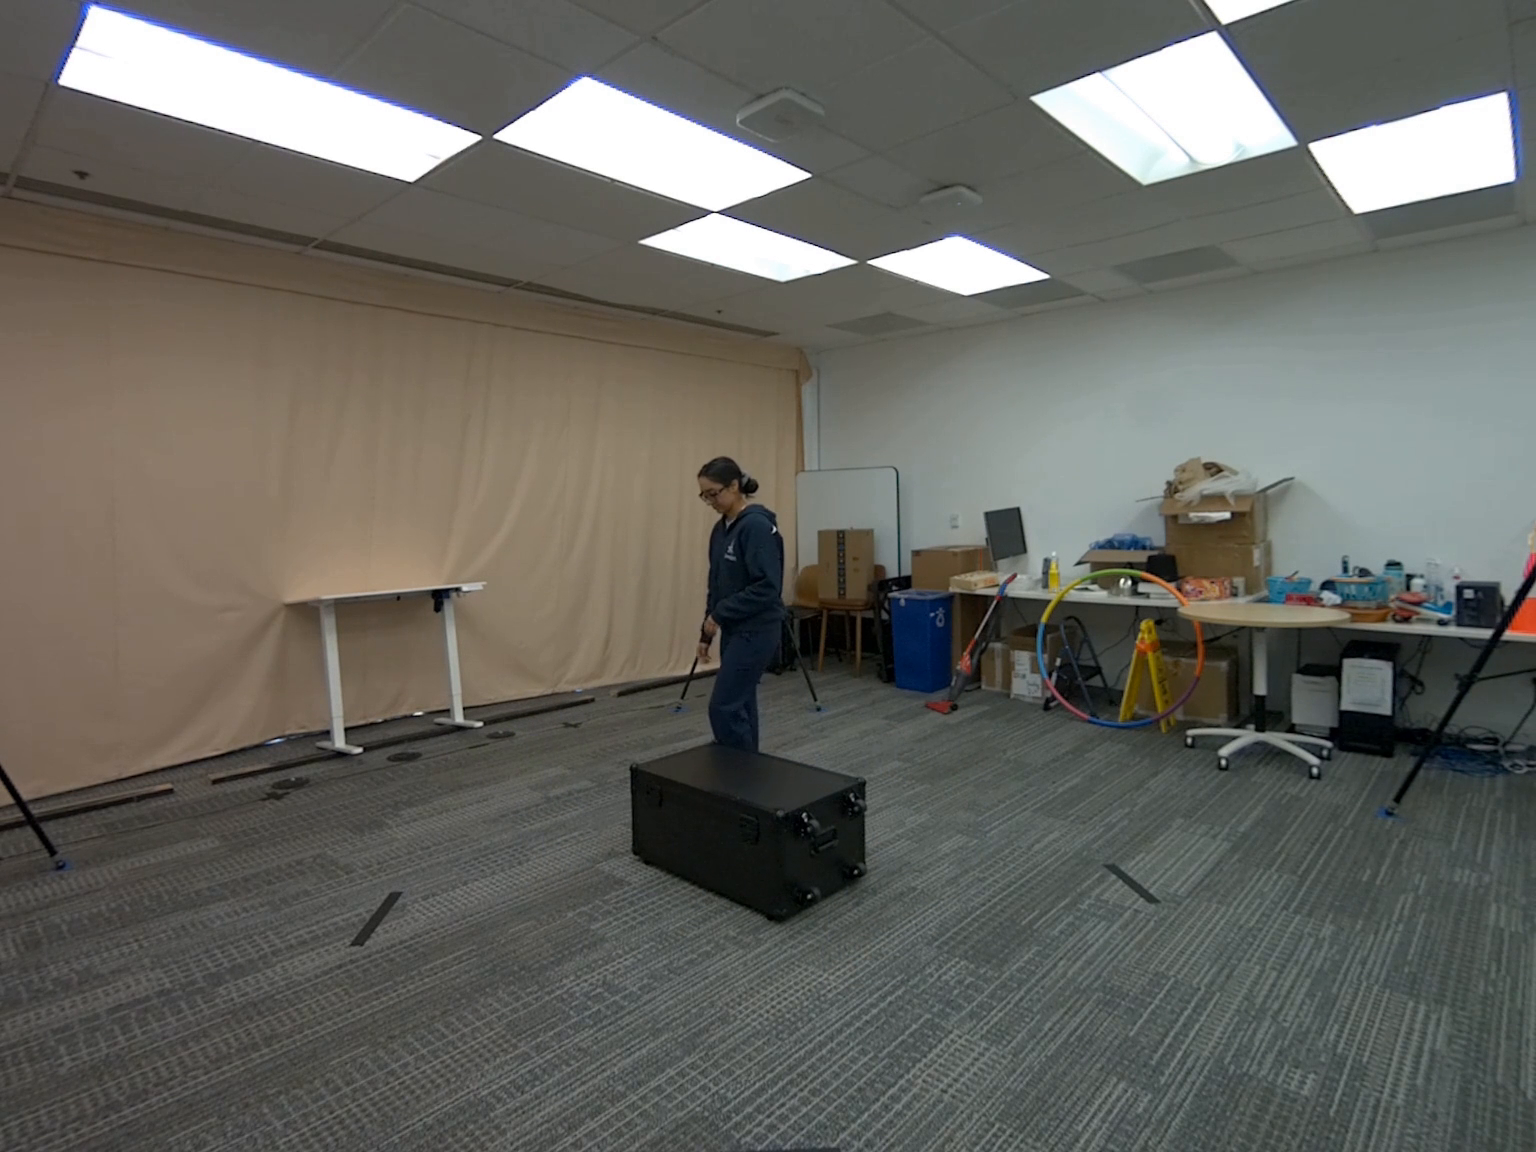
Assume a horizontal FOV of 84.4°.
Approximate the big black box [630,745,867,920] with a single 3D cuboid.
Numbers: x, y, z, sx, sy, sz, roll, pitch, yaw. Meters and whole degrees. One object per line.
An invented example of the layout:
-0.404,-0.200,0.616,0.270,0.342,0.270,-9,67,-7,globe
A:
-0.066,0.935,3.187,0.890,0.395,0.505,2,5,43,big black box
